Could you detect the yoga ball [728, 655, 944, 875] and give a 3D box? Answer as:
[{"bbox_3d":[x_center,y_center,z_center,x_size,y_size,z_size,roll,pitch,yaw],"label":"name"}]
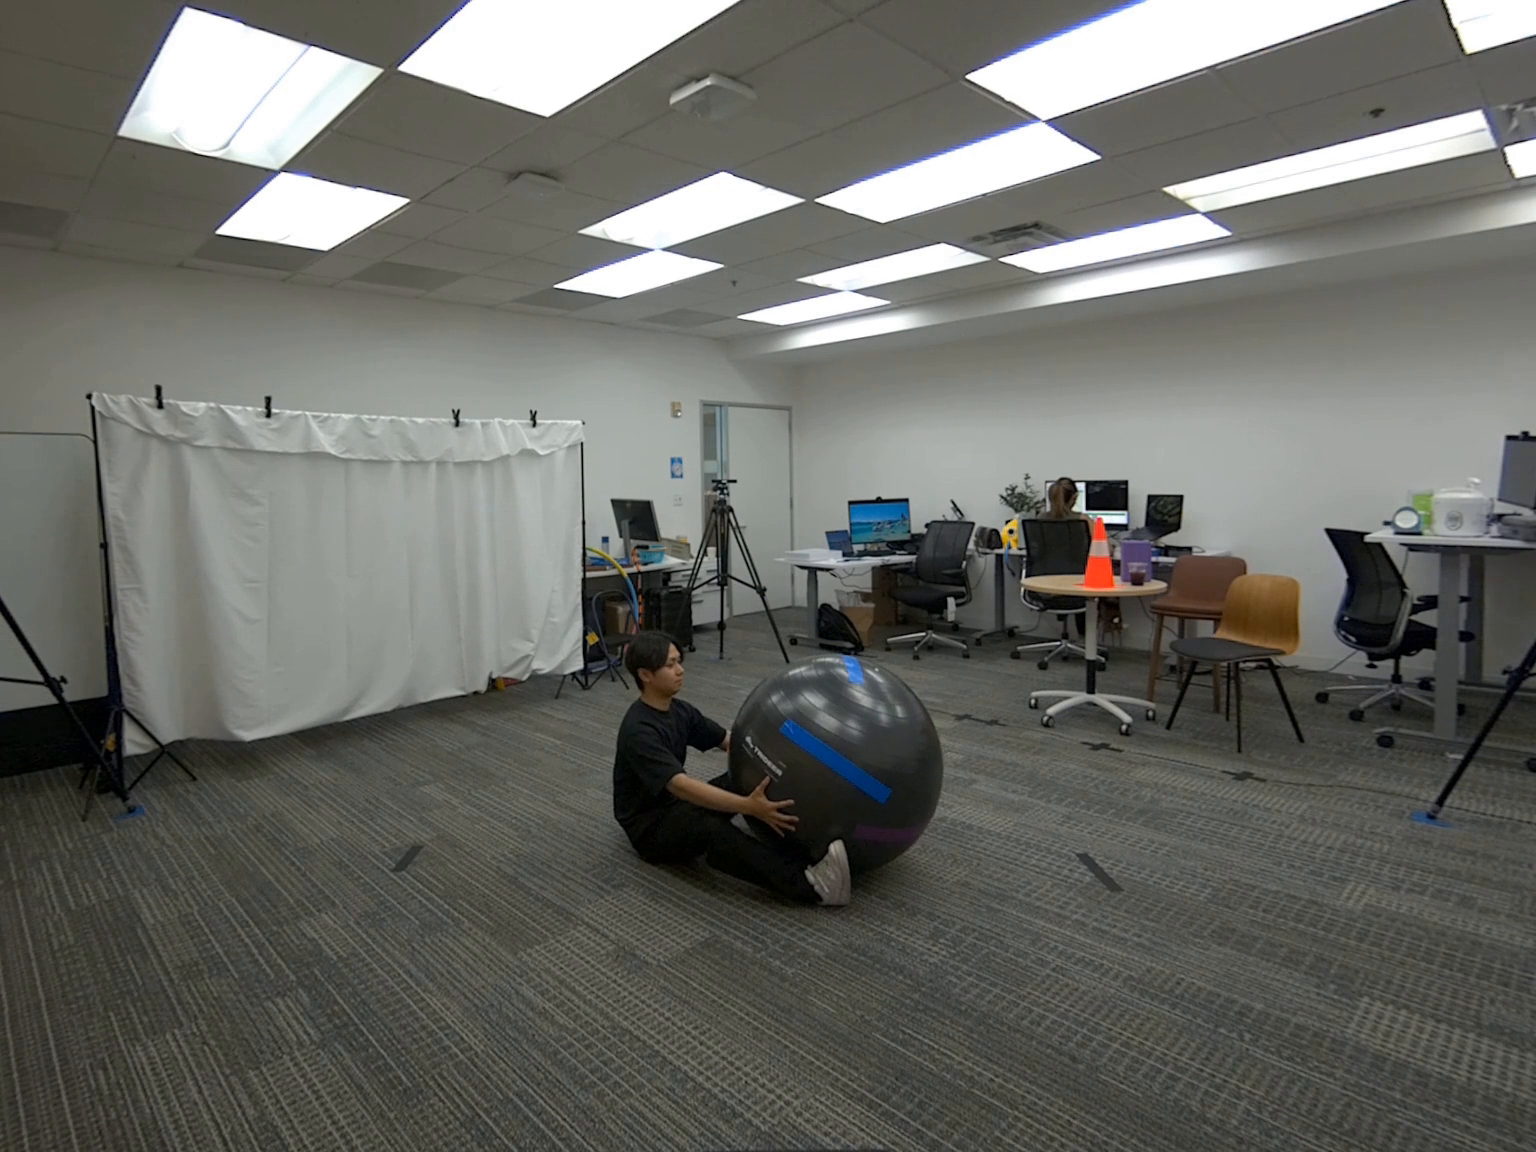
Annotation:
[{"bbox_3d":[0.238,0.676,3.062,0.757,0.755,0.762,-1,5,-2],"label":"yoga ball"}]
